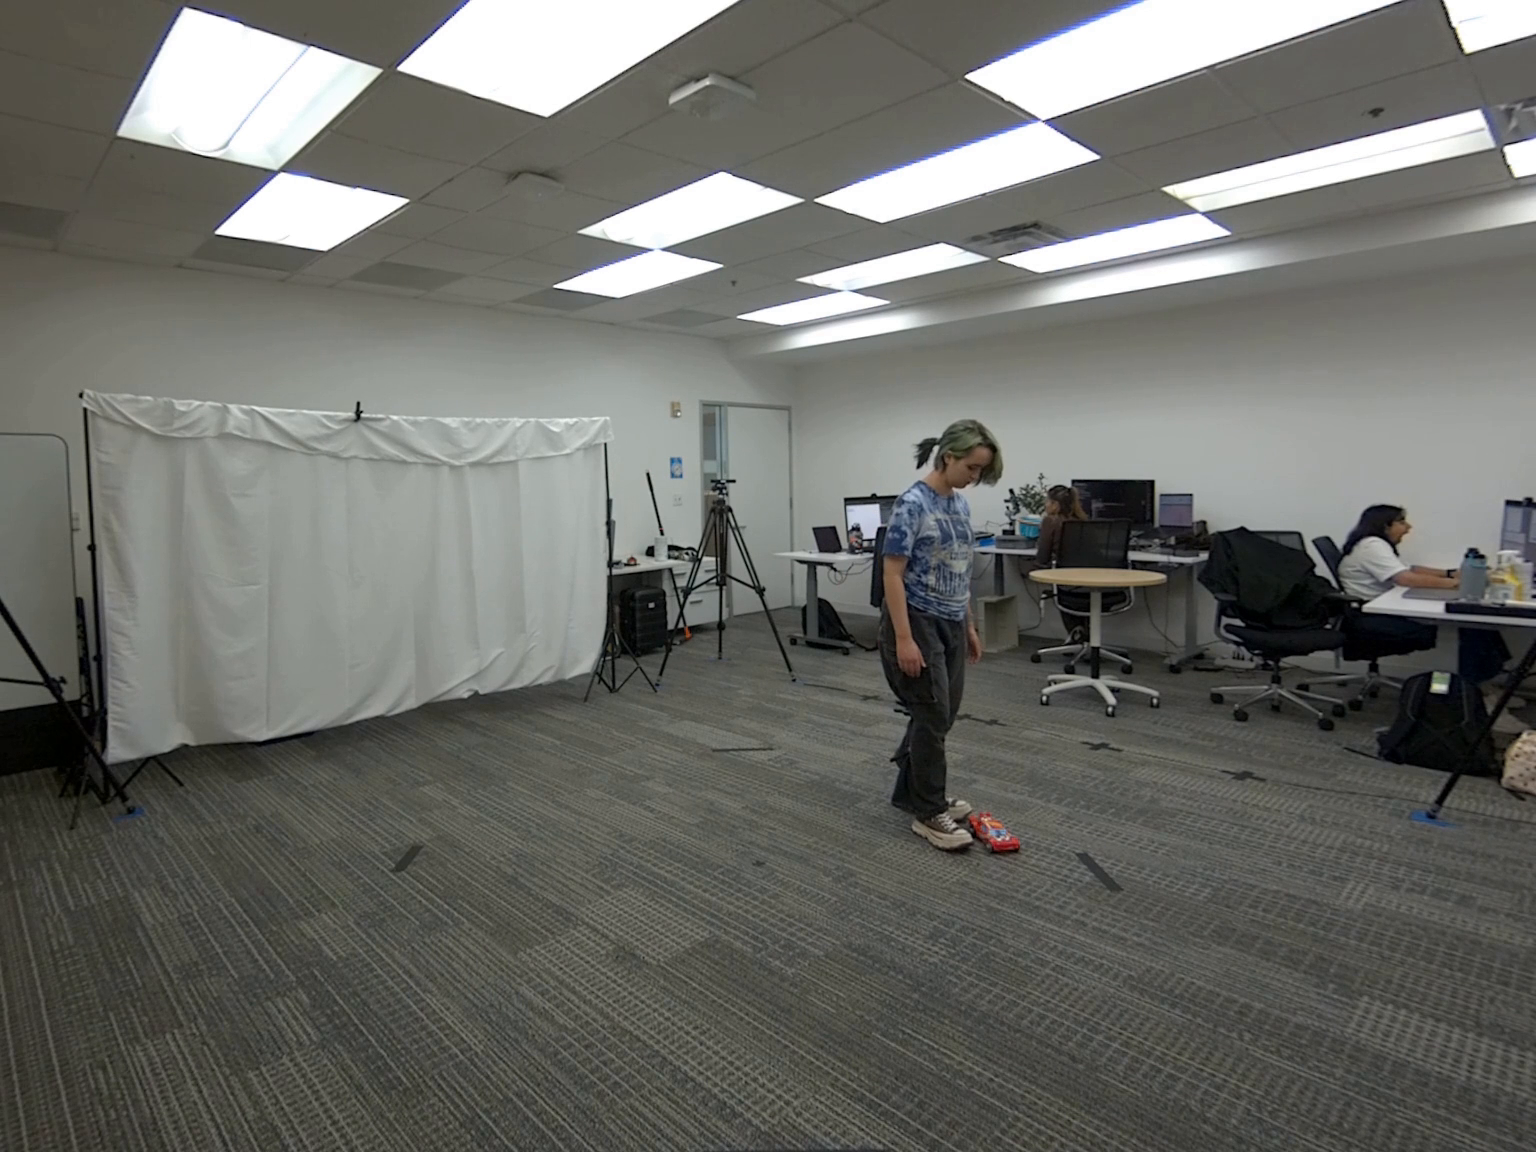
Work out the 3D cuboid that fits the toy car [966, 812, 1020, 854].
[{"bbox_3d":[0.843,0.974,3.263,0.129,0.082,0.259,-1,16,-8],"label":"toy car"}]
